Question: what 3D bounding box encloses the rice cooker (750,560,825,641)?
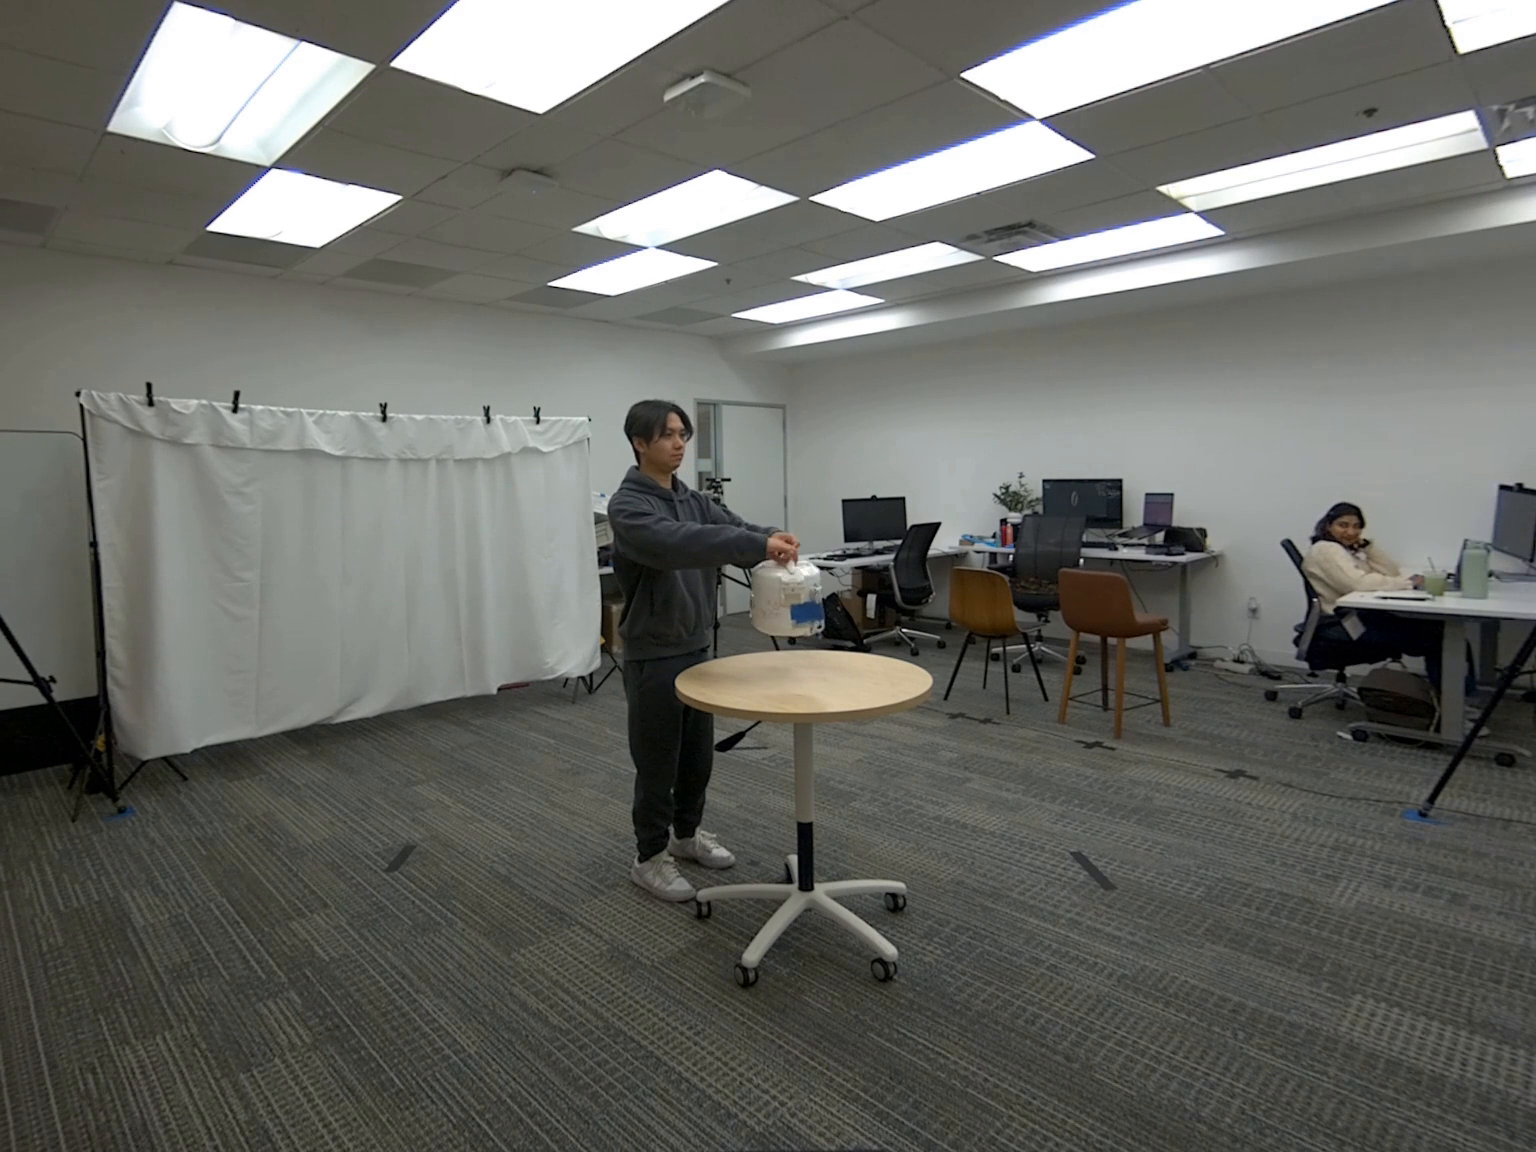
[{"bbox_3d":[0.060,0.056,2.625,0.216,0.231,0.224,-1,9,-7],"label":"rice cooker"}]
